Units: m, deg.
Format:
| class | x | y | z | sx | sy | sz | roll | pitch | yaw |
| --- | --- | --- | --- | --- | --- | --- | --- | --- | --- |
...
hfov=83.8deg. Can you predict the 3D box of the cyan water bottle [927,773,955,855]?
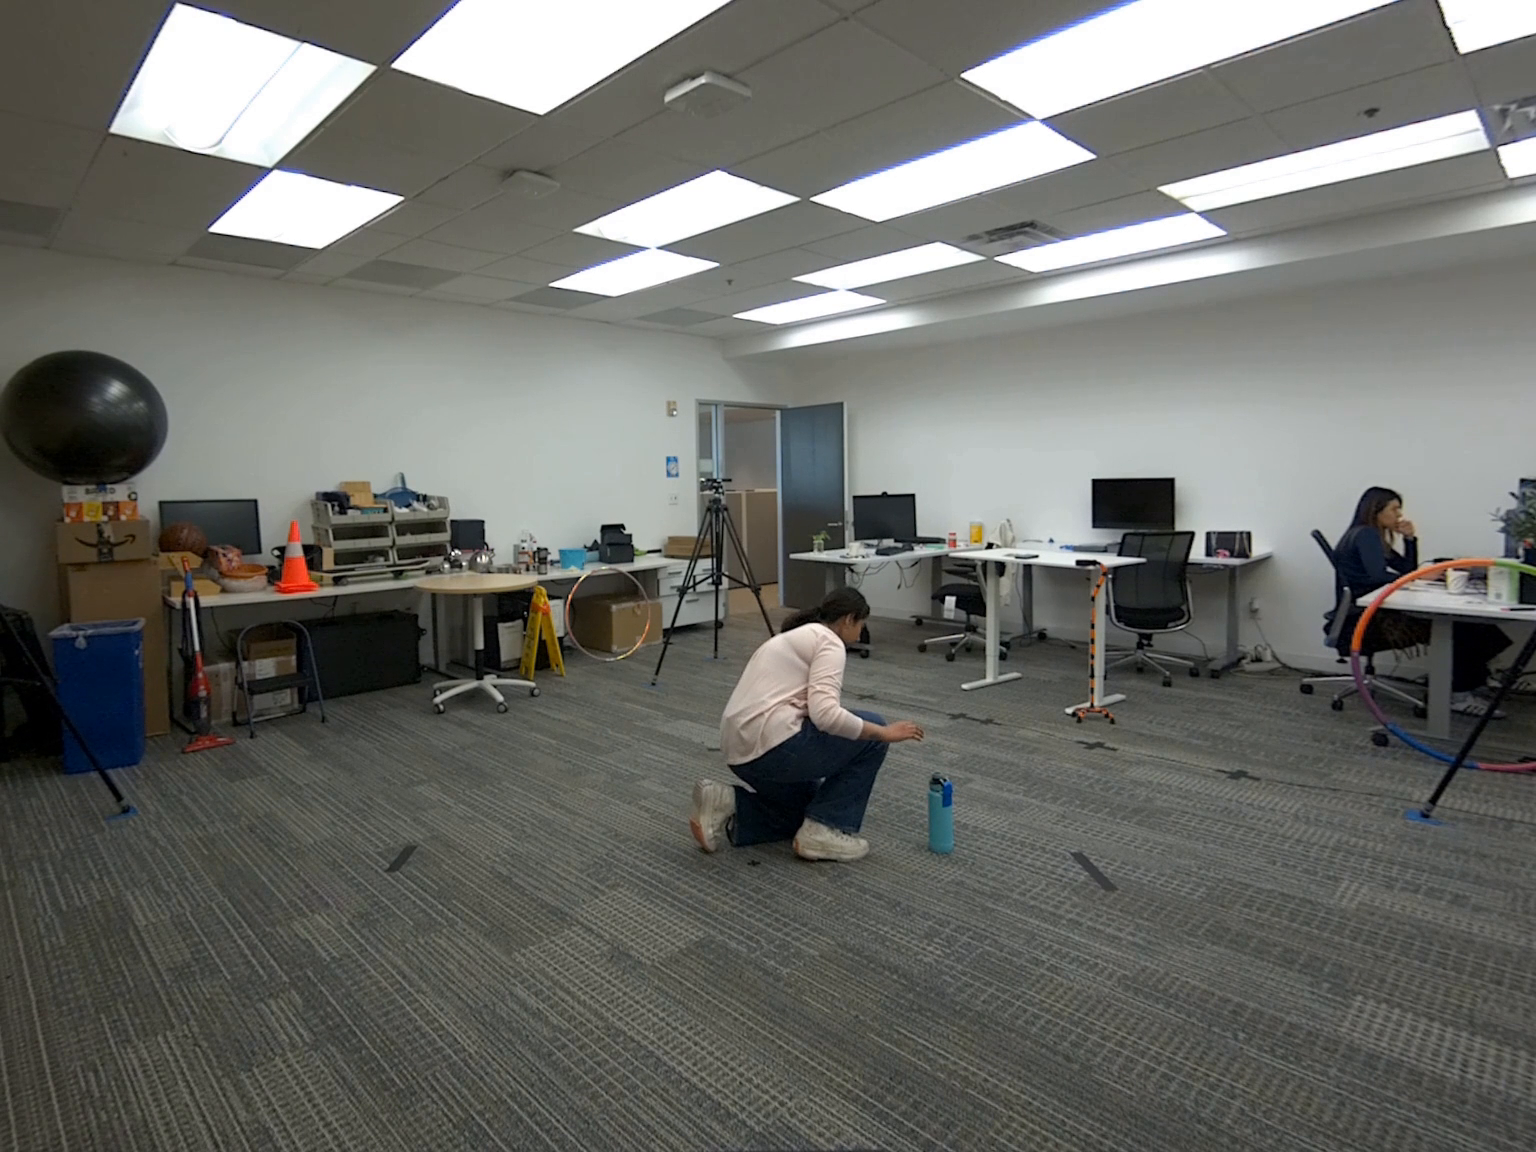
| class | x | y | z | sx | sy | sz | roll | pitch | yaw |
| --- | --- | --- | --- | --- | --- | --- | --- | --- | --- |
| cyan water bottle | 0.642 | 0.876 | 3.190 | 0.092 | 0.282 | 0.093 | -1 | 4 | -2 |
